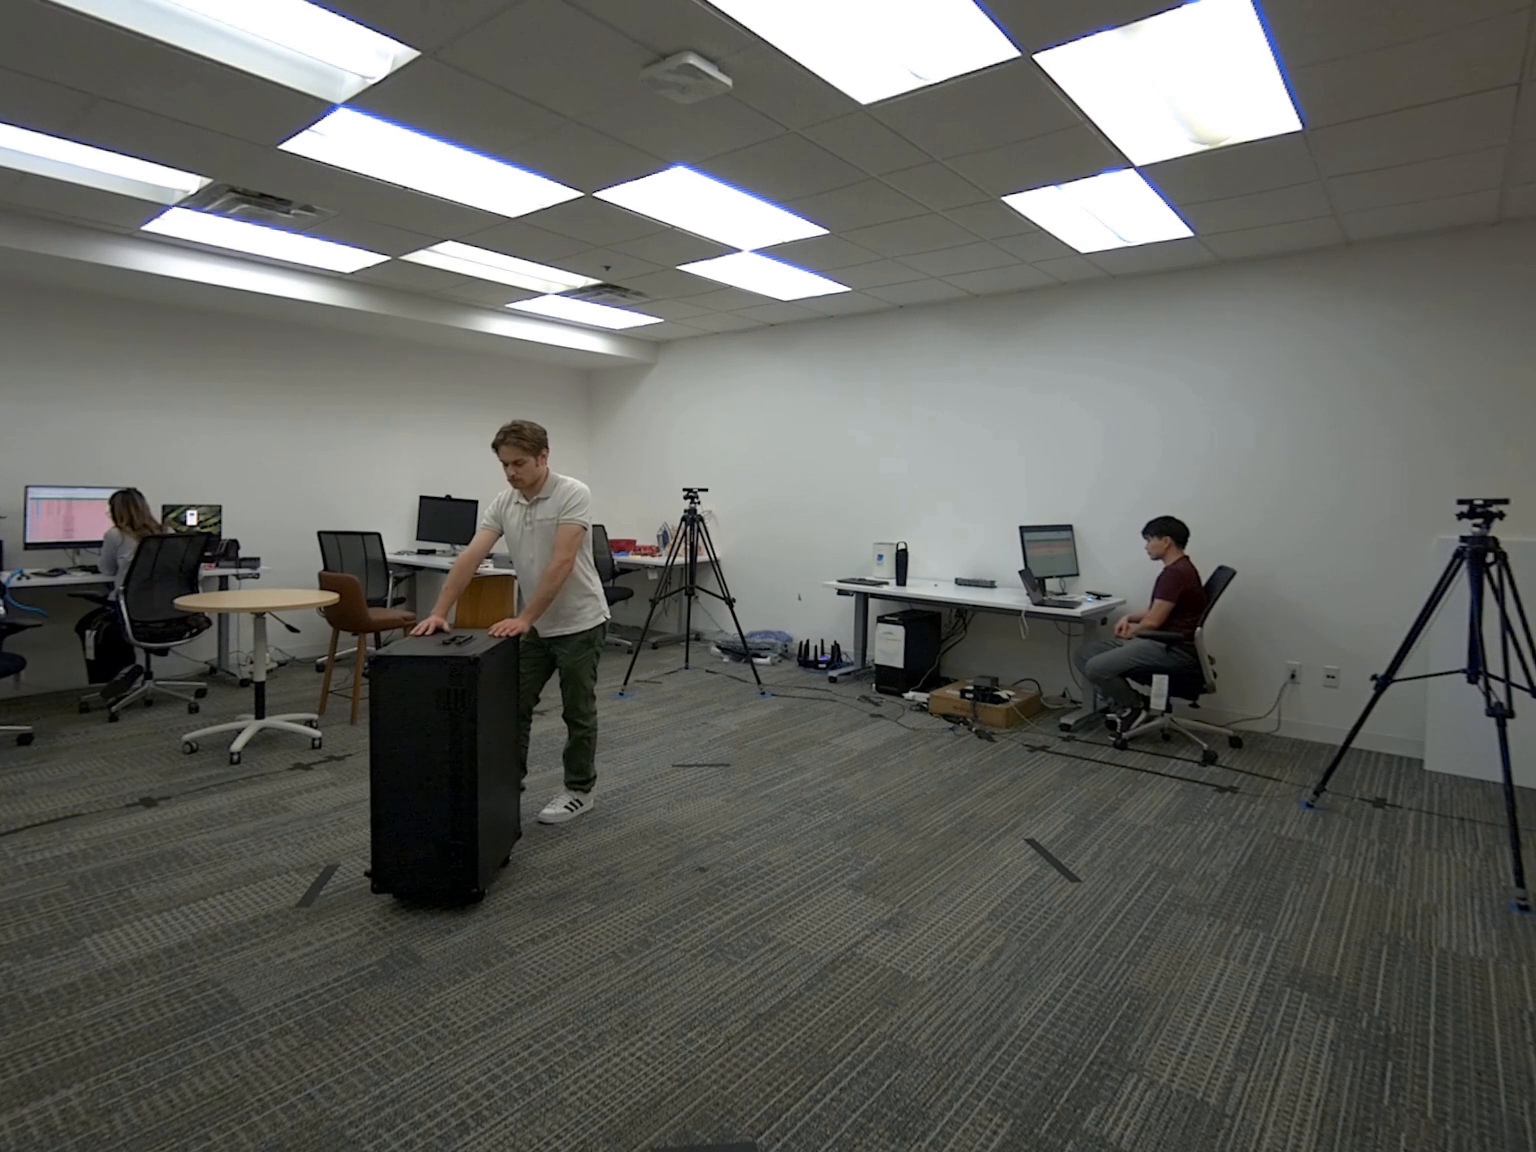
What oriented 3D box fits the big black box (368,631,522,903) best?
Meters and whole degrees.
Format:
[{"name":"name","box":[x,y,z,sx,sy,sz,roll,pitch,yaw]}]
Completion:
[{"name":"big black box","box":[-1.116,0.650,2.940,0.386,0.866,0.524,1,3,0]}]
